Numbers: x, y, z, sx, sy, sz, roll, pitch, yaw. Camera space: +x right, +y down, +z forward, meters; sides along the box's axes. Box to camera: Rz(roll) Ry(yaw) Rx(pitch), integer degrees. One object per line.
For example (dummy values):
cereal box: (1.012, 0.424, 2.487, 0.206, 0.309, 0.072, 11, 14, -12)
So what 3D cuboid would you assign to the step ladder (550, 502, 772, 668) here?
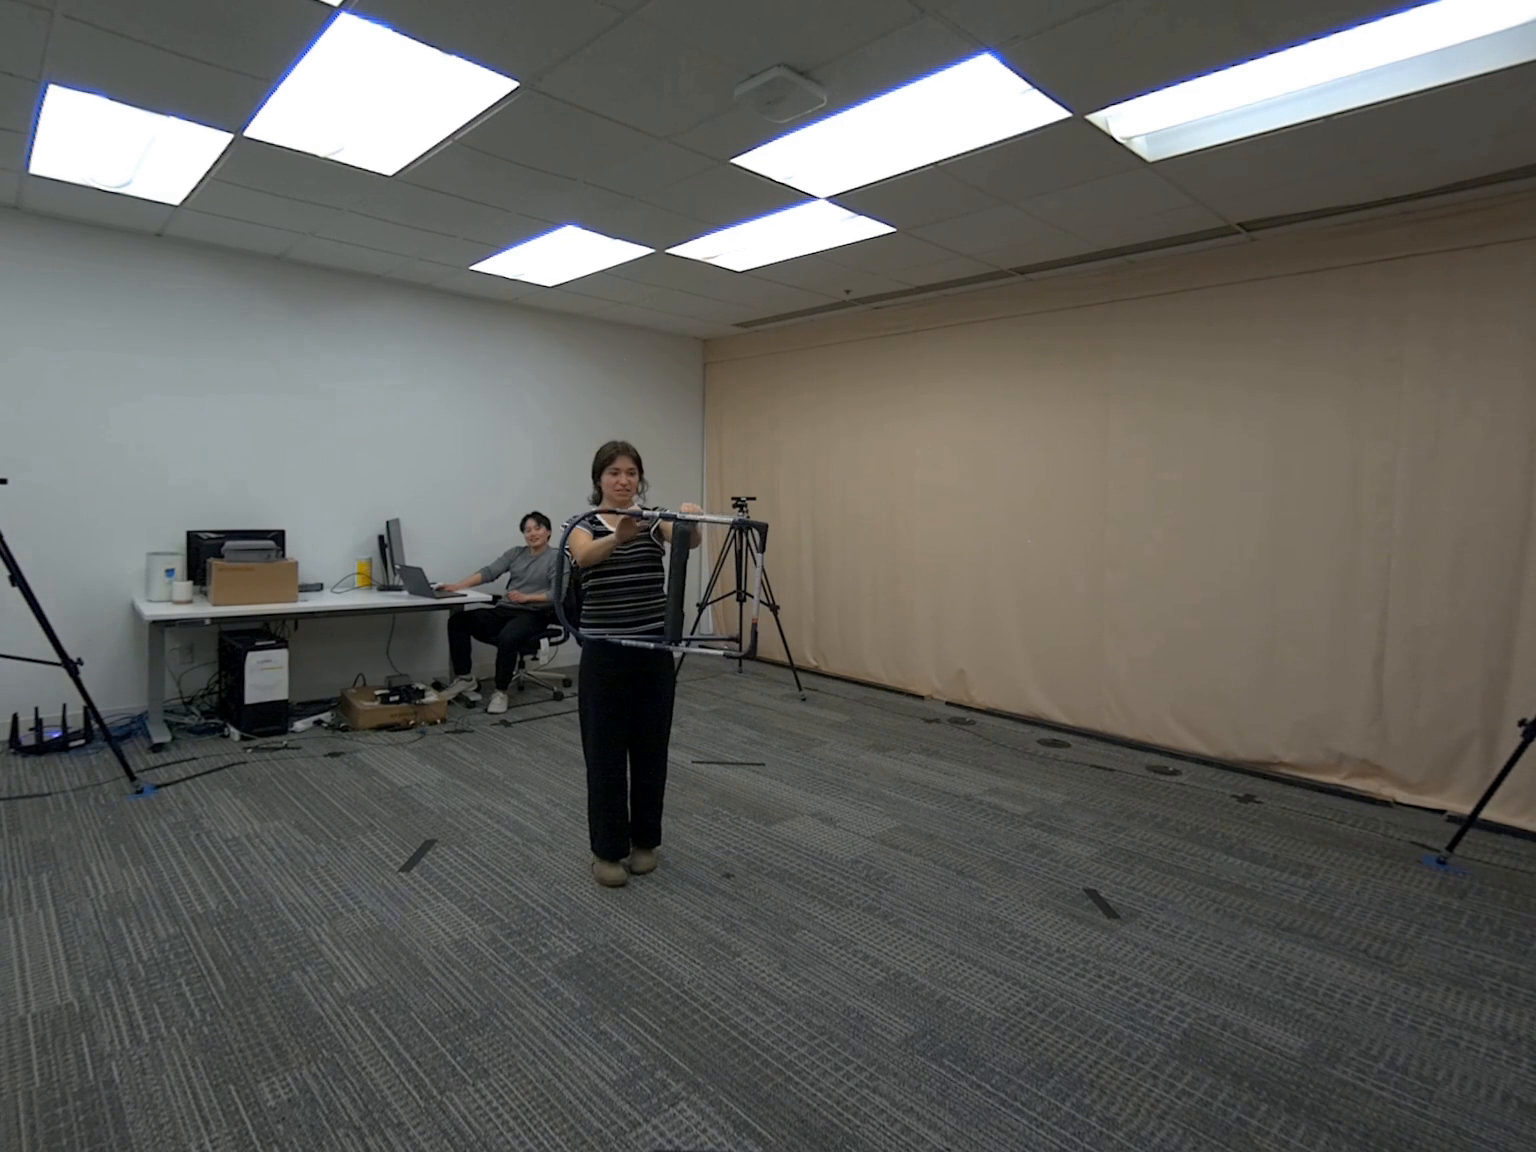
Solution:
step ladder: (-0.343, 0.015, 2.602, 0.600, 0.429, 0.354, 4, 5, -12)
